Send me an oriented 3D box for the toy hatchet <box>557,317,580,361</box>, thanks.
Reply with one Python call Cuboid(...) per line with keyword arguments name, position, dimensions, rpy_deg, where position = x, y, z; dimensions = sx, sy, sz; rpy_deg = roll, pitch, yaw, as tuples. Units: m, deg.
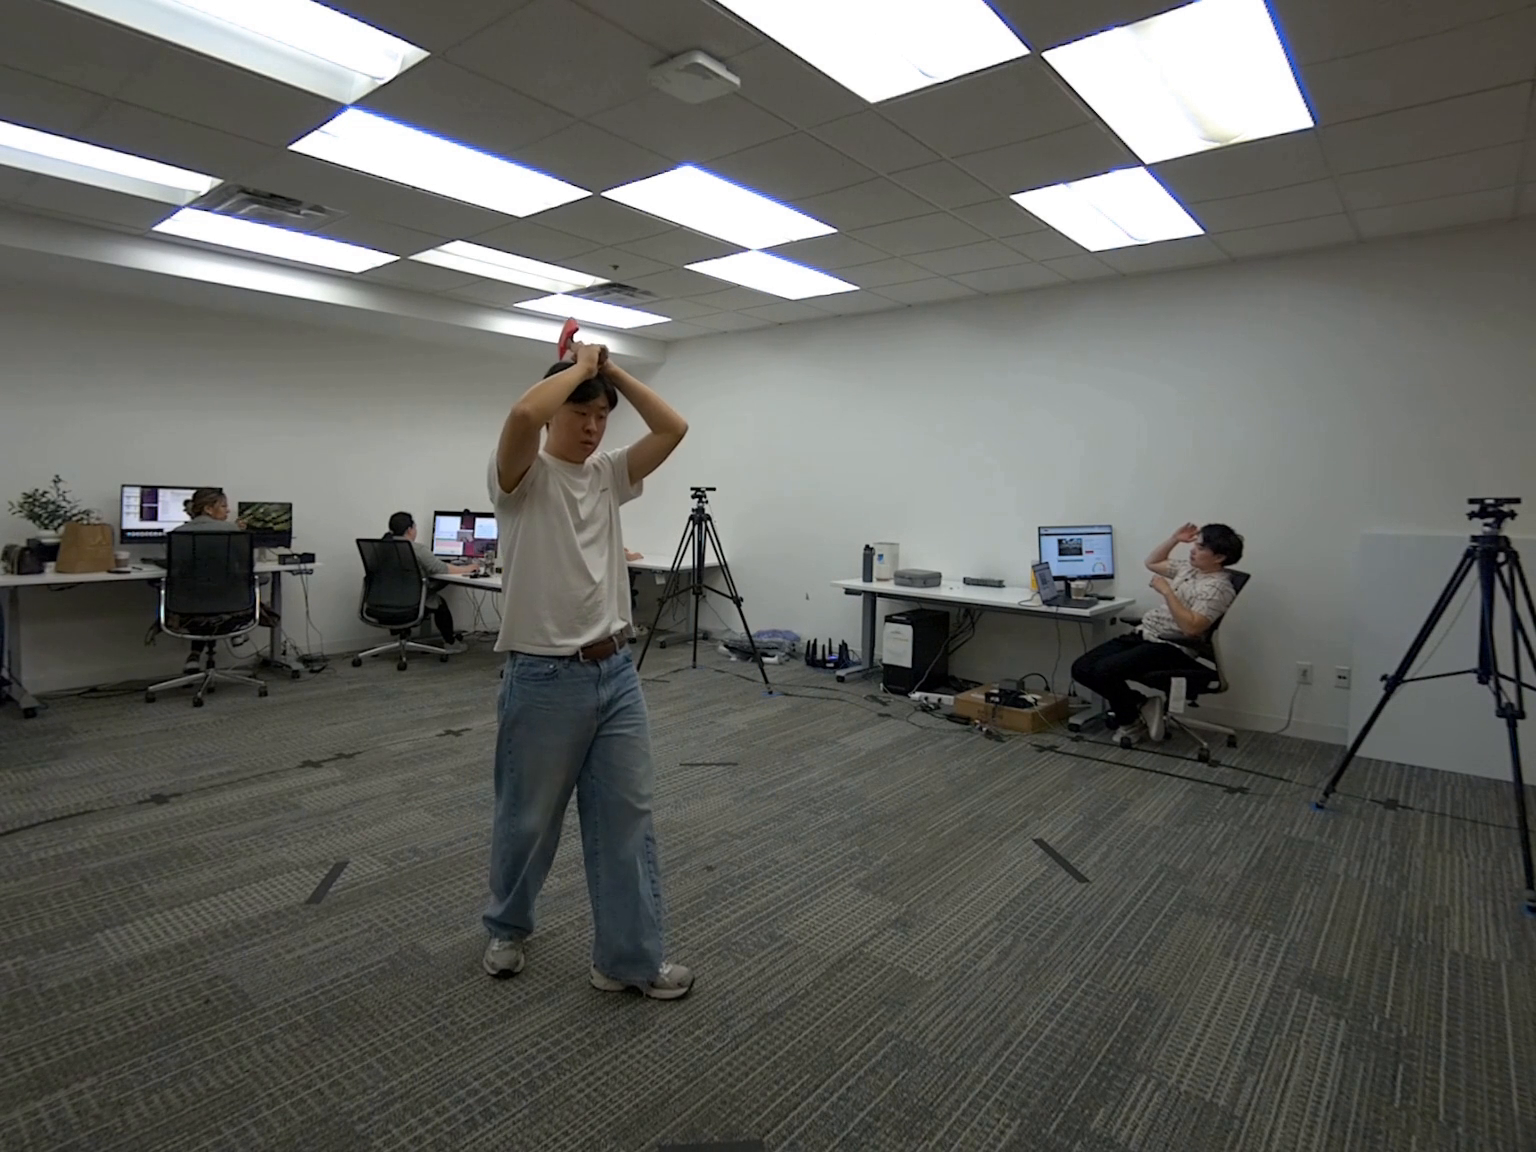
Cuboid(name="toy hatchet", position=(-0.532, -0.669, 2.378), dimensions=(0.028, 0.130, 0.280), rpy_deg=(5, 8, -37))
